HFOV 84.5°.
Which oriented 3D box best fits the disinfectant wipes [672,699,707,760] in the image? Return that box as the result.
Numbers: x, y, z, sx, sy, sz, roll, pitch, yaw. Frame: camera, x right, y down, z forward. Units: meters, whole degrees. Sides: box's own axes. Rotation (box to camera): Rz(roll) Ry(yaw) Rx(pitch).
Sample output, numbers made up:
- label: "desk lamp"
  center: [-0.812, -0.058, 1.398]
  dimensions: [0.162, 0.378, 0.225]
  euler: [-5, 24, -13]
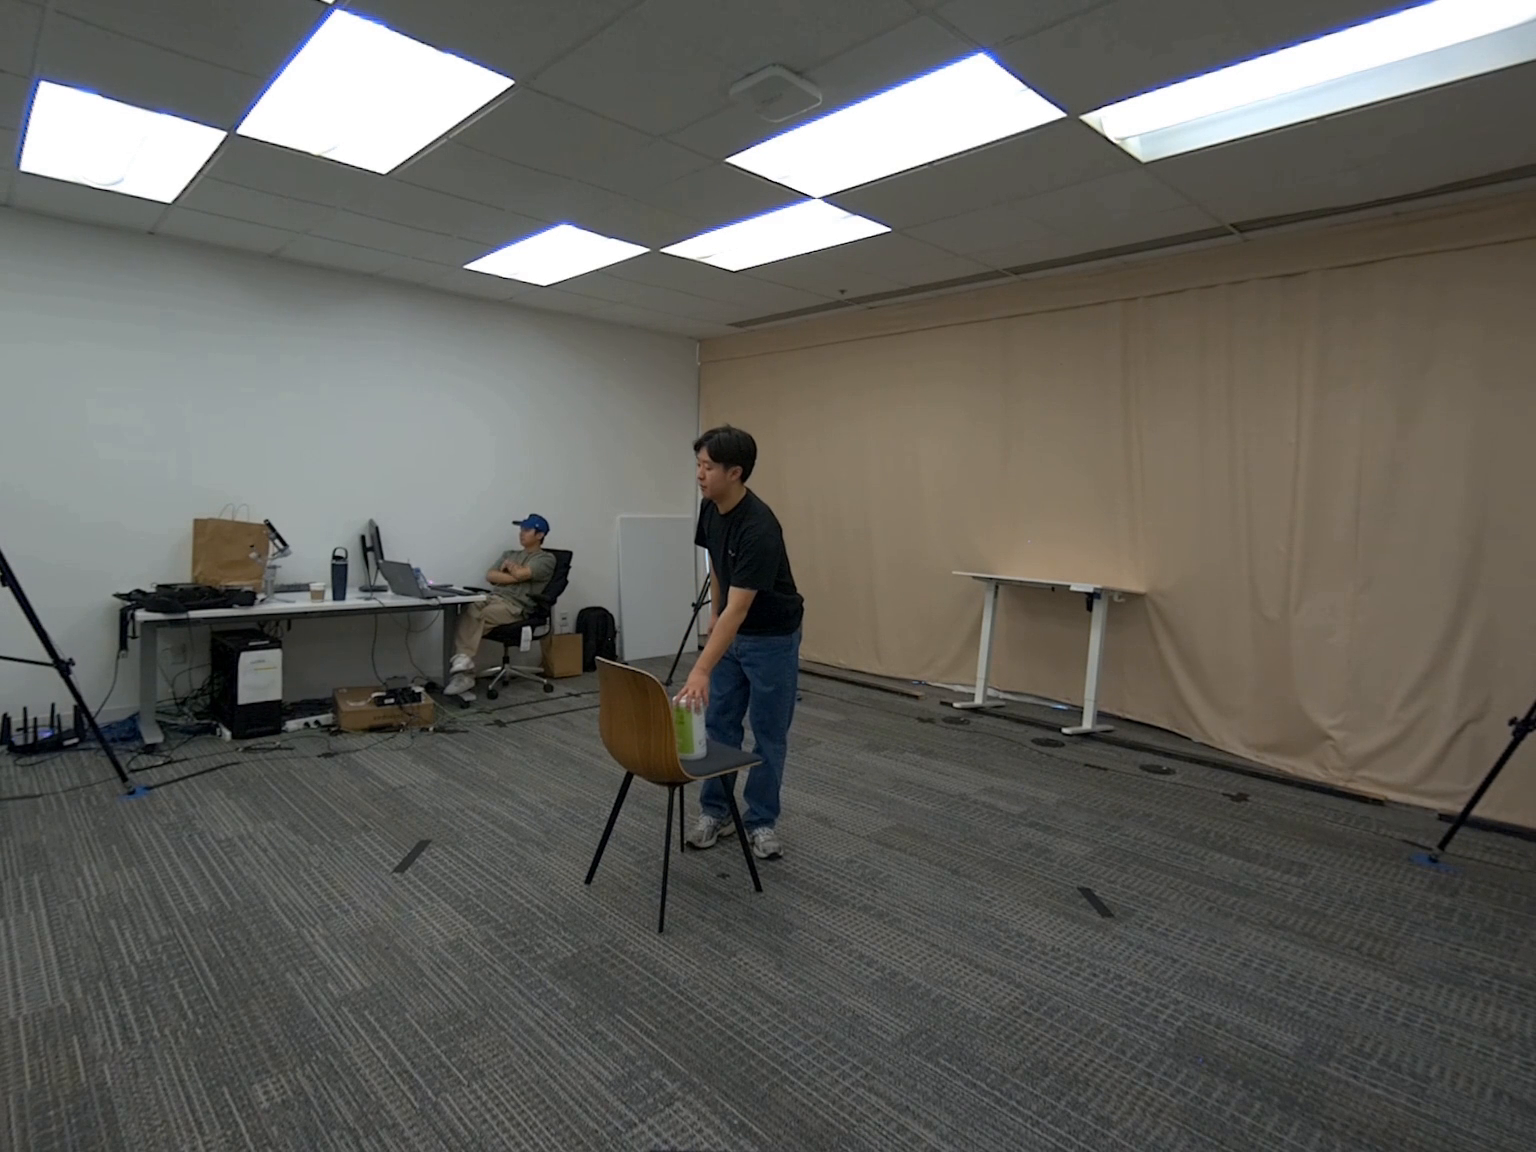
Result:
- label: "disinfectant wipes"
  center: [-0.276, 0.537, 2.969]
  dimensions: [0.118, 0.216, 0.118]
  euler: [-3, 5, -1]
